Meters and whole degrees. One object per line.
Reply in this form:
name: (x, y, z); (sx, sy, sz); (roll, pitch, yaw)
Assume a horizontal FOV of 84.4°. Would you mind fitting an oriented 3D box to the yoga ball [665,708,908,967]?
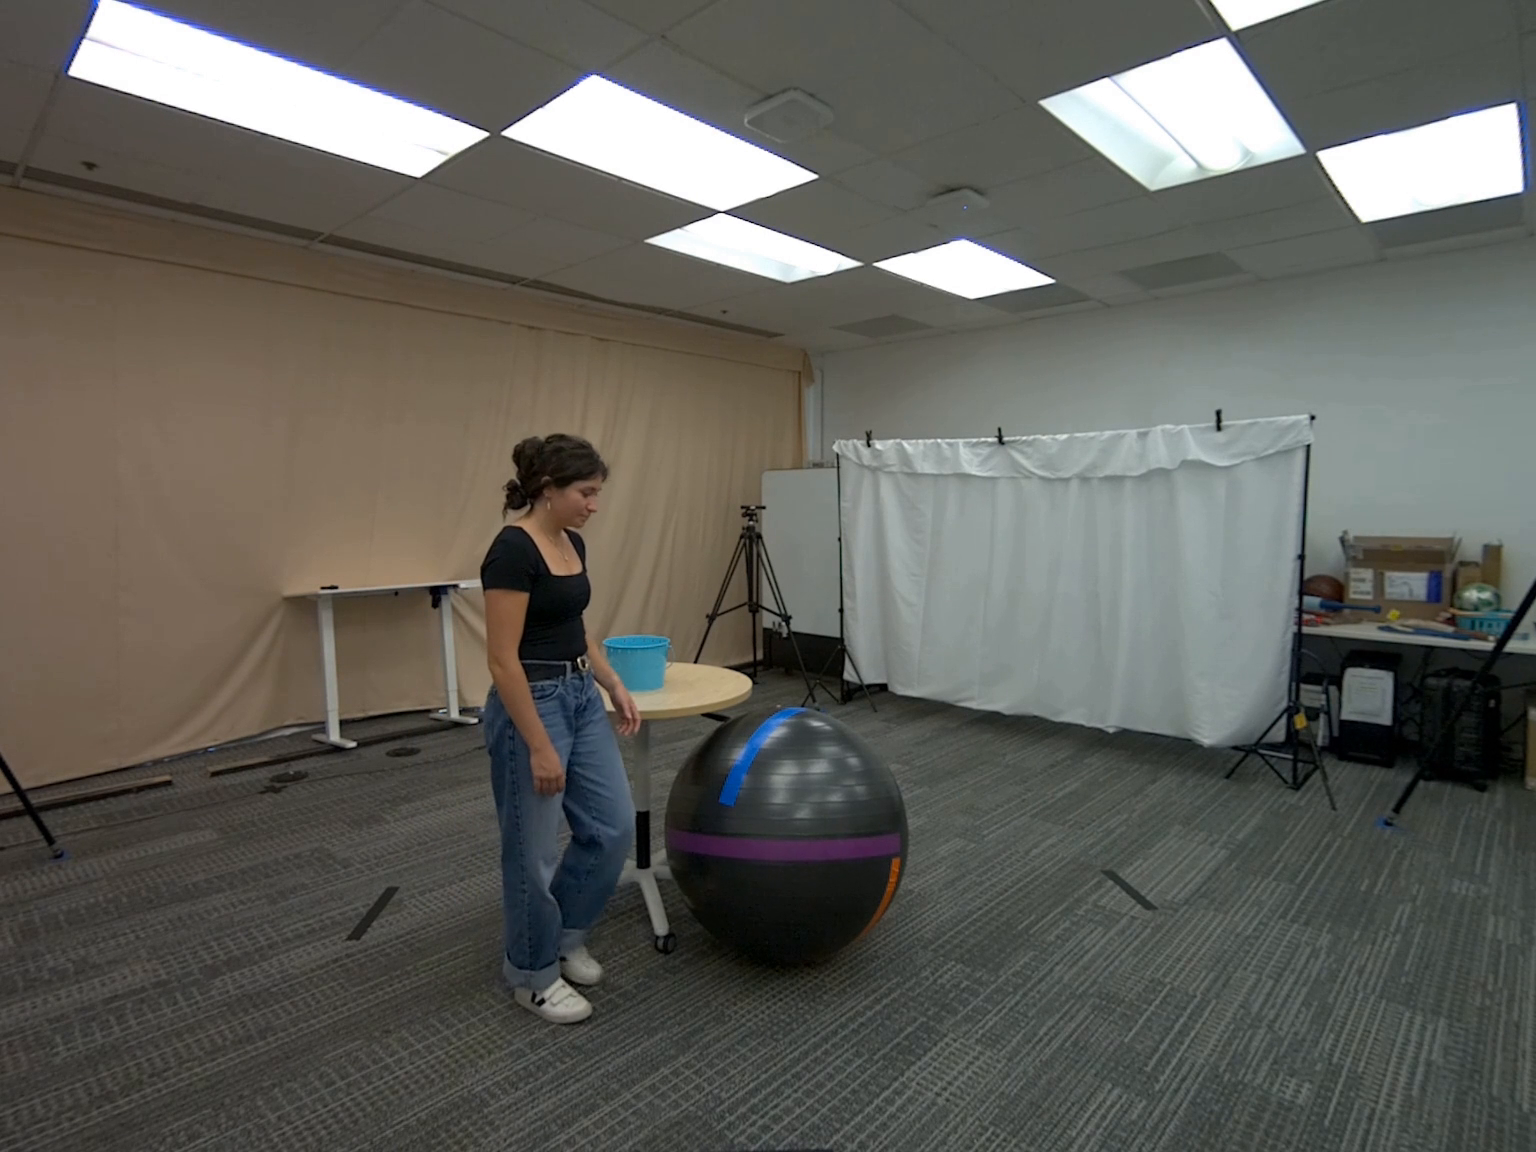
yoga ball: (0.062, 0.808, 2.655); (0.757, 0.756, 0.760); (0, 4, -2)
